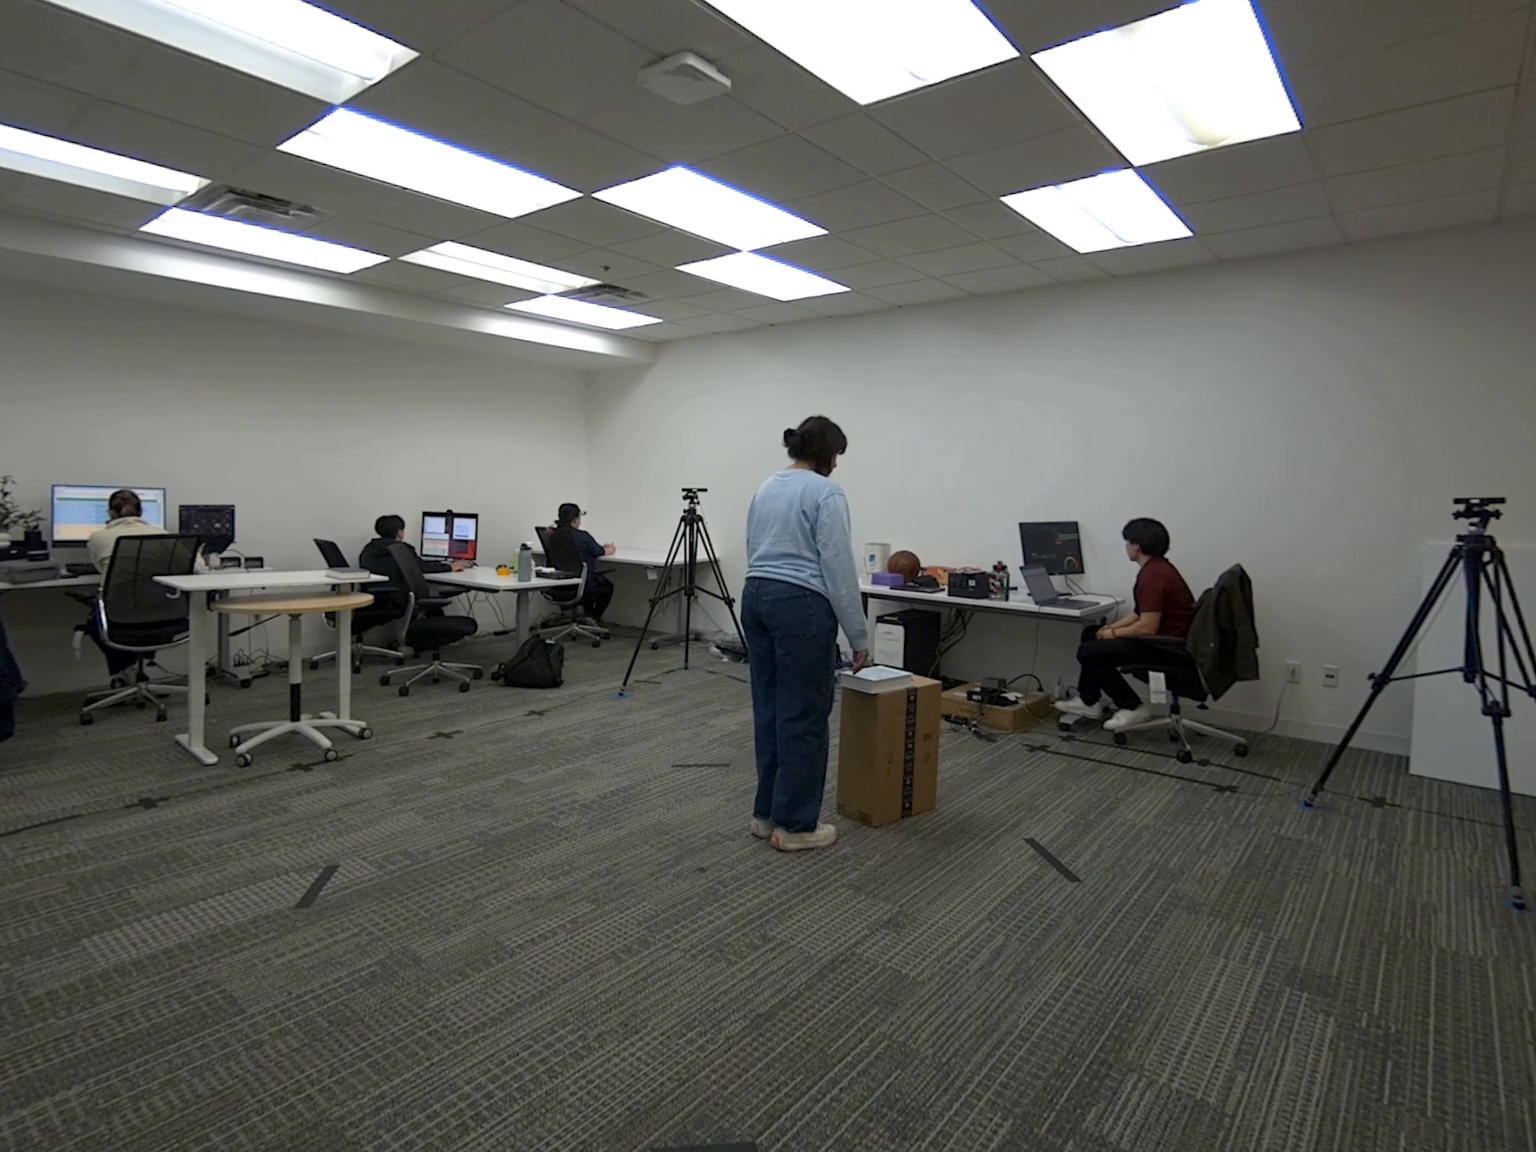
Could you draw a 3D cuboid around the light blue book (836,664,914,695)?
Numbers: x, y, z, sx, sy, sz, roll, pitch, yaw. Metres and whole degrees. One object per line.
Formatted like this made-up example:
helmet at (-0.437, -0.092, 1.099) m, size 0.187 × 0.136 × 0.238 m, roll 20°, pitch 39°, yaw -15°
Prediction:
light blue book at (0.455, 0.439, 3.631) m, size 0.253 × 0.059 × 0.198 m, roll -4°, pitch 8°, yaw -42°
